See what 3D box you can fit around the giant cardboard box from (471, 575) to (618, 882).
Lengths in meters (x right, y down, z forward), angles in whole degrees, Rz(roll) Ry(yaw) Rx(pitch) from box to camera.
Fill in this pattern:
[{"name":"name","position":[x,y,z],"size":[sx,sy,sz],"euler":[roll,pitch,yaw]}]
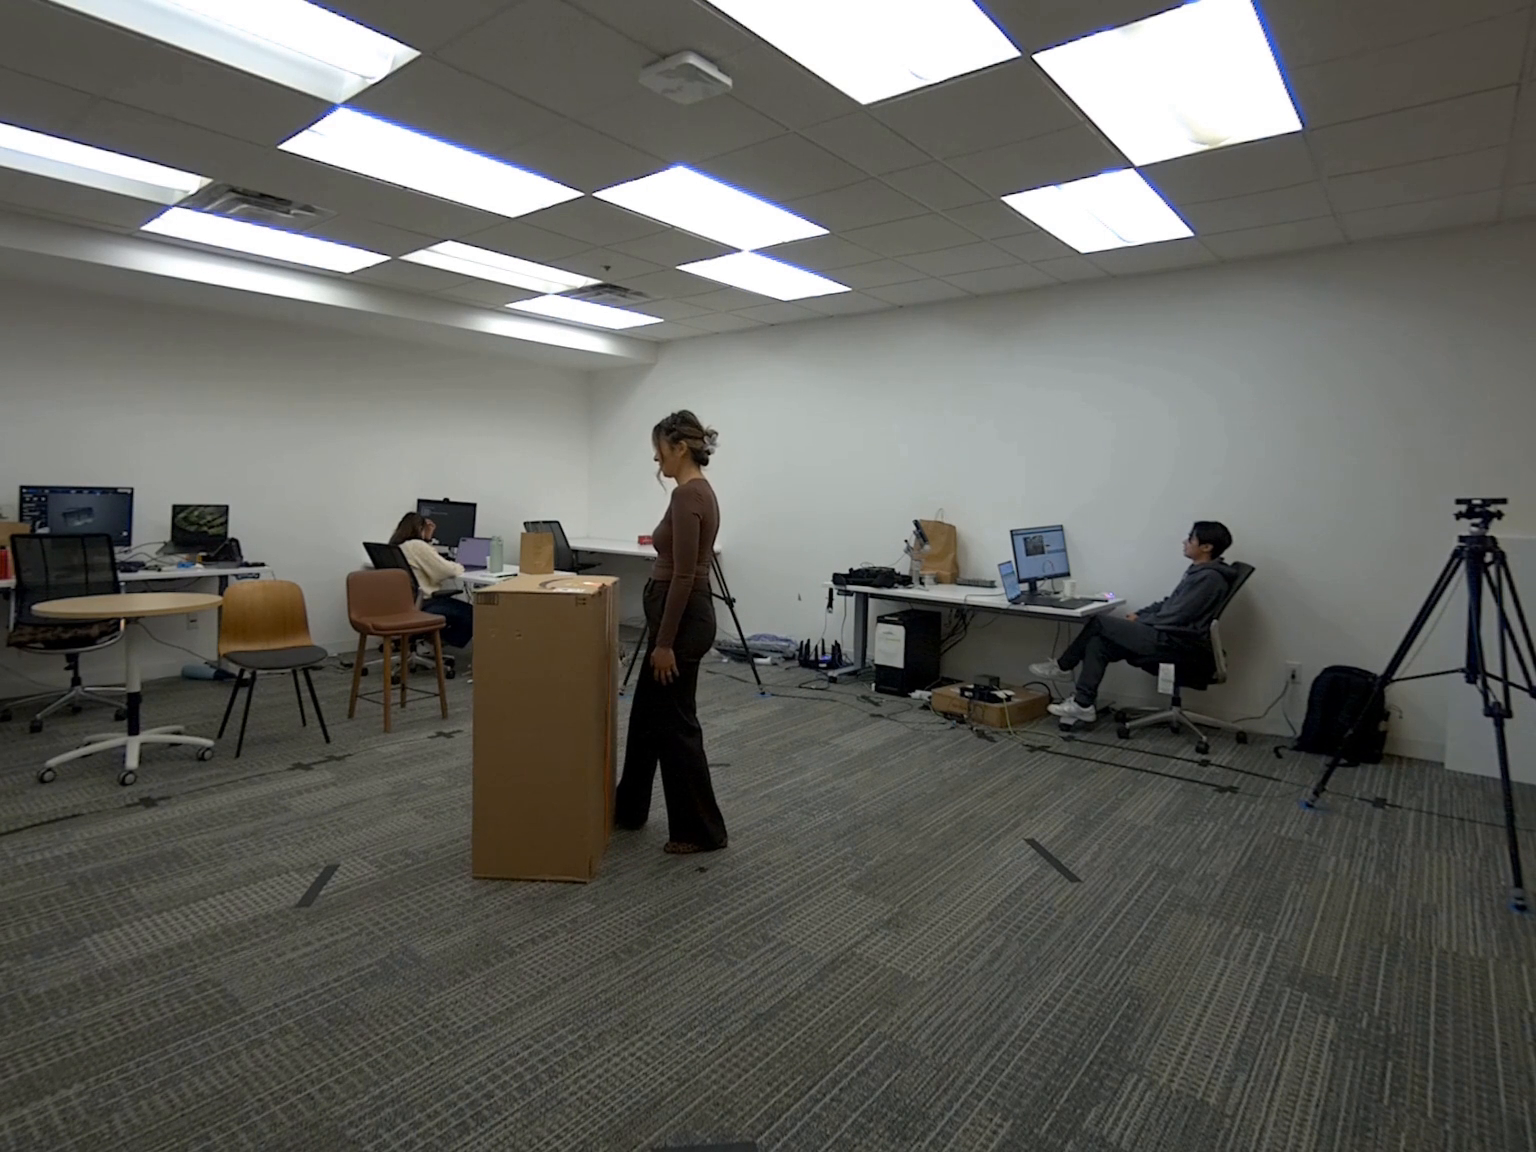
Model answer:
[{"name":"giant cardboard box","position":[-0.839,0.533,3.255],"size":[0.448,1.024,0.584],"euler":[1,3,1]}]
